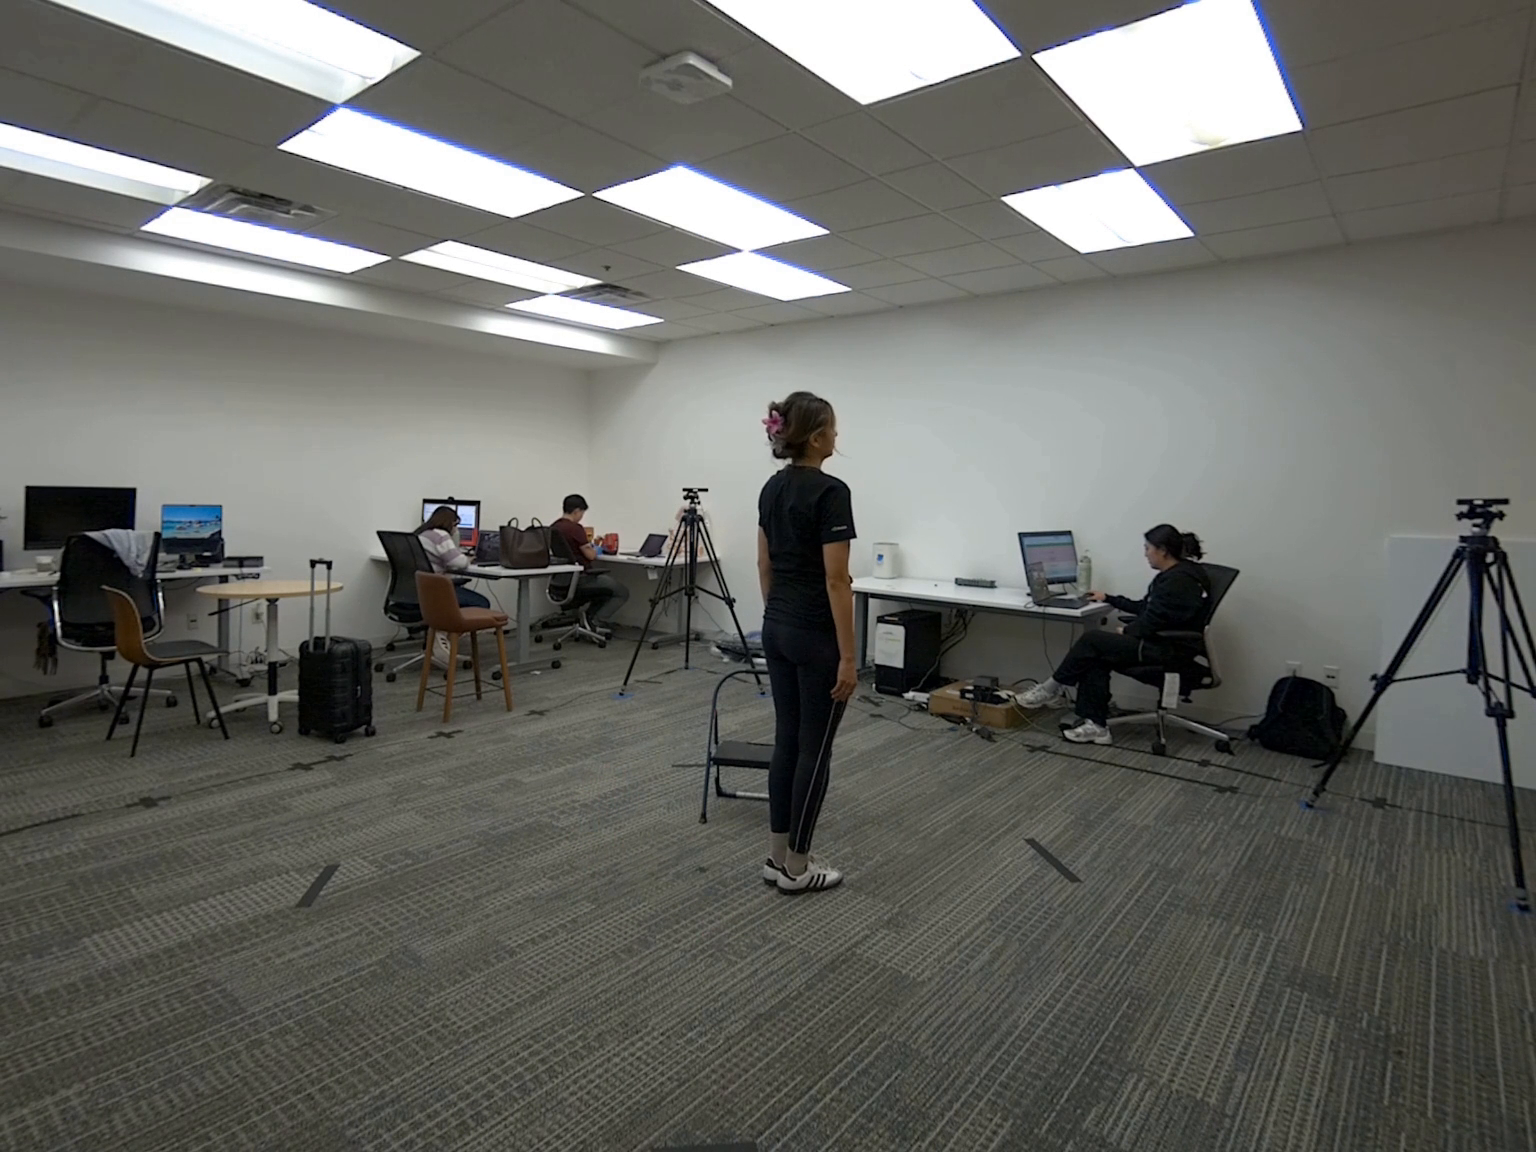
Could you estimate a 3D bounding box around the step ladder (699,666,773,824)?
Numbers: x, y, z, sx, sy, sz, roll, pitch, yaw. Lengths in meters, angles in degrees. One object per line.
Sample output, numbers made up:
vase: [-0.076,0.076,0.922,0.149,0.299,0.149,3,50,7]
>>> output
step ladder: [-0.058,0.714,3.656,0.436,0.604,0.346,1,3,10]
